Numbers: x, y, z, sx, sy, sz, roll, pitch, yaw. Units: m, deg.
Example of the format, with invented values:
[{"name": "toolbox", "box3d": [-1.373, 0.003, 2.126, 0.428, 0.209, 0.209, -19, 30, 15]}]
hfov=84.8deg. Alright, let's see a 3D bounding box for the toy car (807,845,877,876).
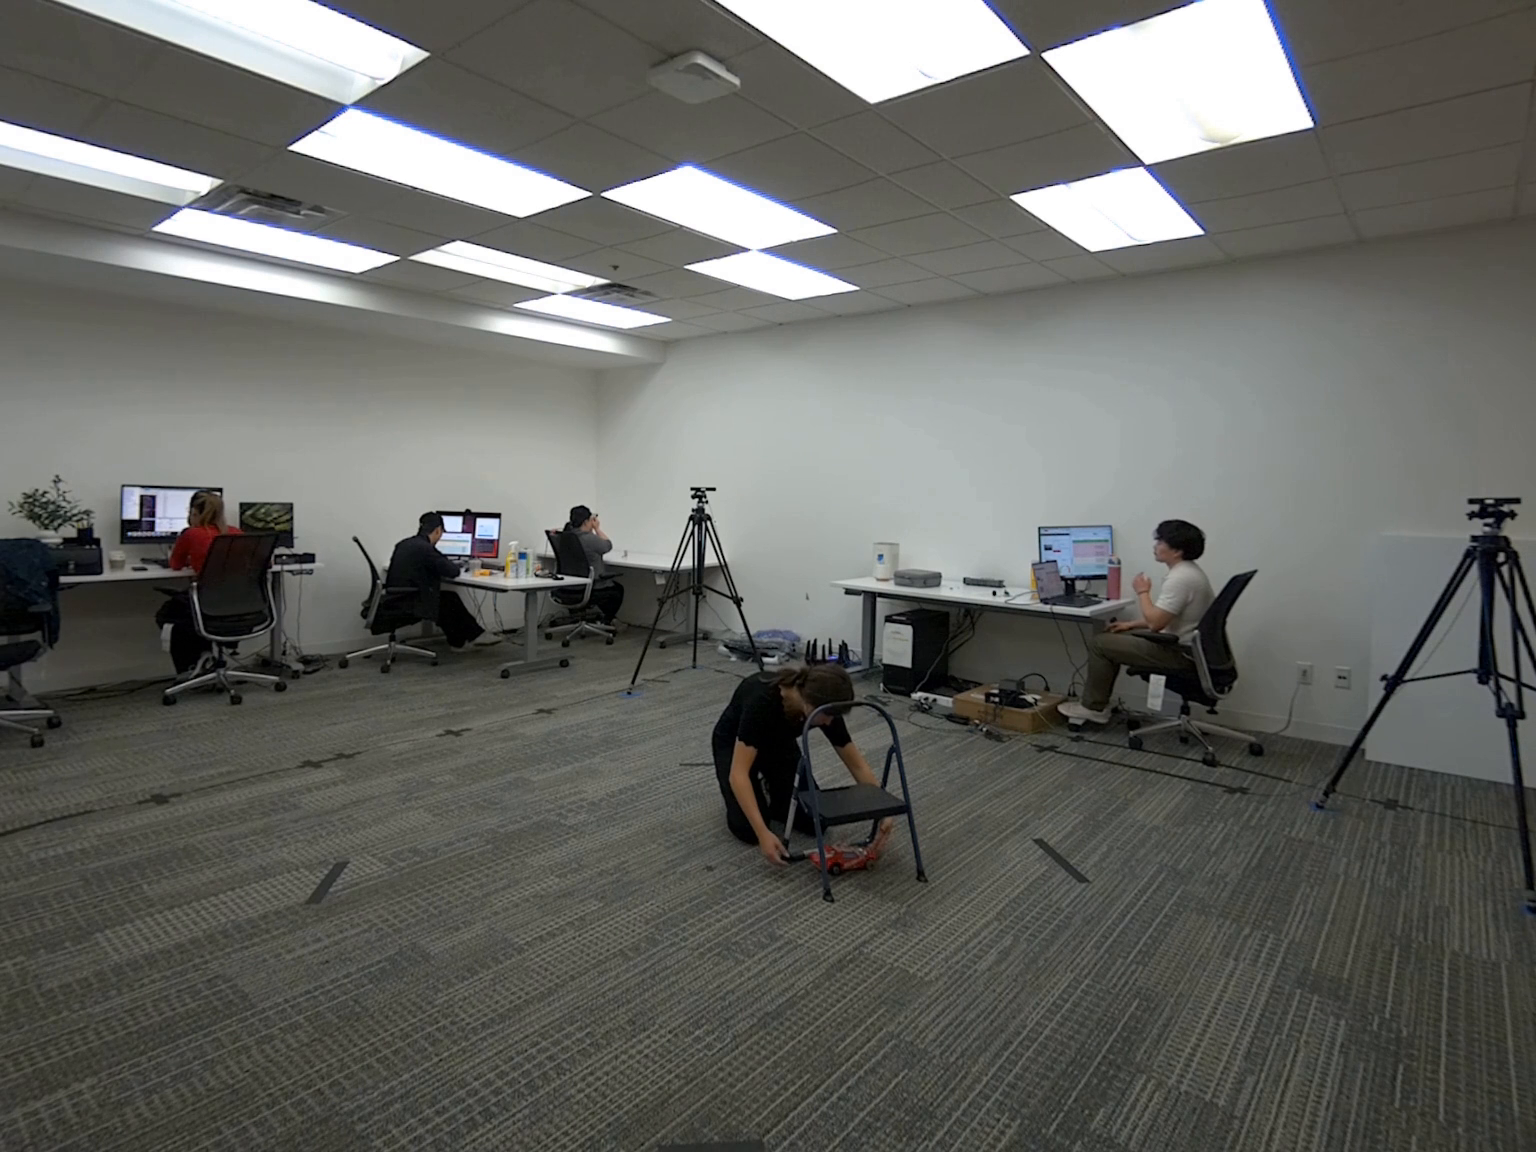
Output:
[{"name": "toy car", "box3d": [0.268, 1.058, 3.151, 0.251, 0.083, 0.133, 8, 6, -13]}]
